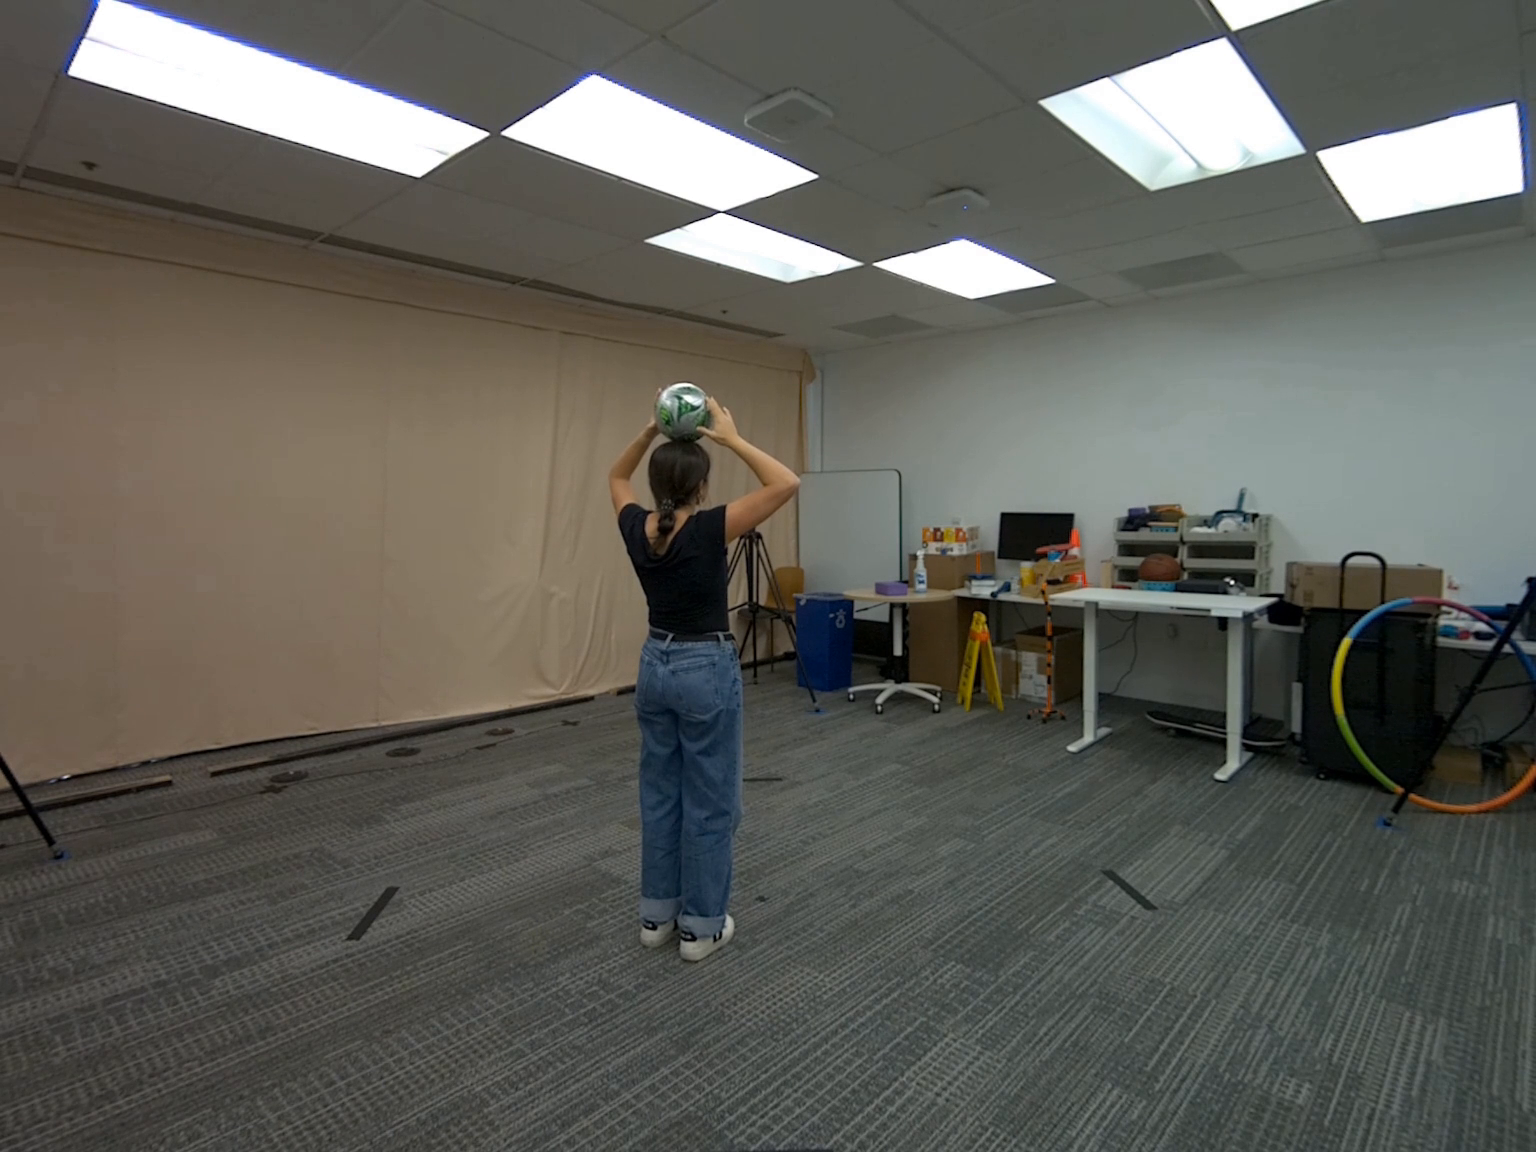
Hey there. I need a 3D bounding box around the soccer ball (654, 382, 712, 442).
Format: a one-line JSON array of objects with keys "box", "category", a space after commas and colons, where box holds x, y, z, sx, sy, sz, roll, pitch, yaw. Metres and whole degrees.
[{"box": [-0.251, -0.506, 2.634, 0.187, 0.187, 0.188, 0, 4, -2], "category": "soccer ball"}]
